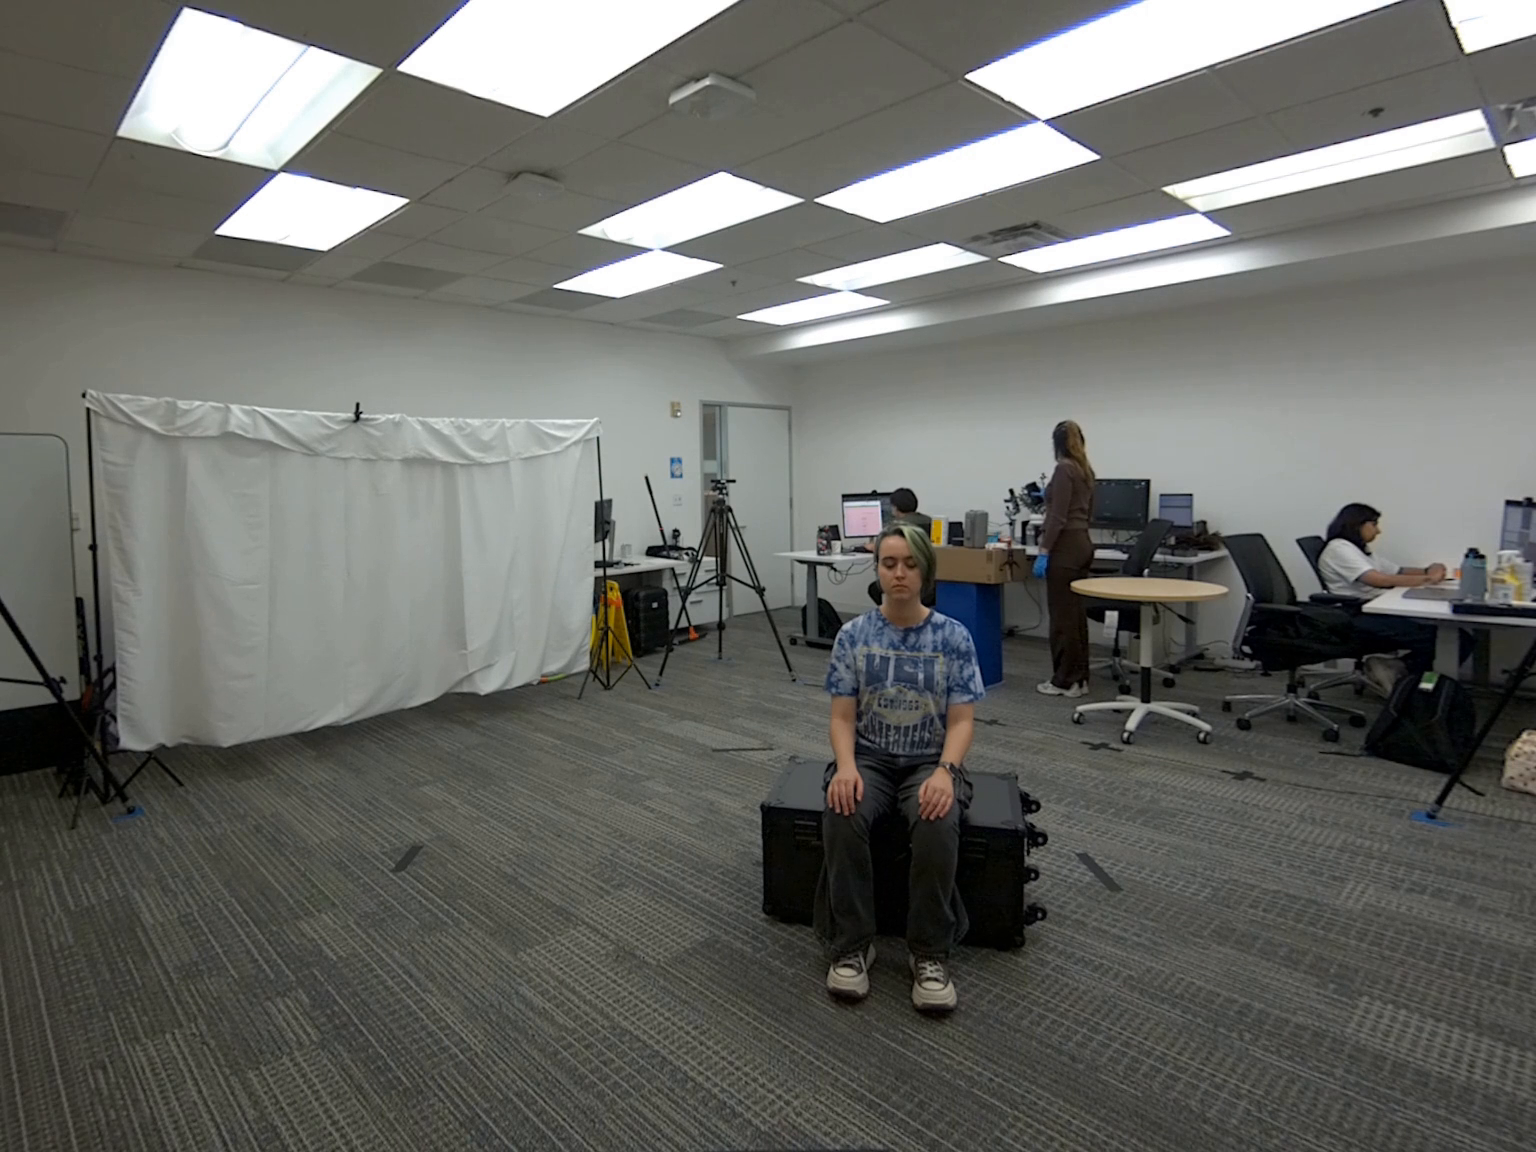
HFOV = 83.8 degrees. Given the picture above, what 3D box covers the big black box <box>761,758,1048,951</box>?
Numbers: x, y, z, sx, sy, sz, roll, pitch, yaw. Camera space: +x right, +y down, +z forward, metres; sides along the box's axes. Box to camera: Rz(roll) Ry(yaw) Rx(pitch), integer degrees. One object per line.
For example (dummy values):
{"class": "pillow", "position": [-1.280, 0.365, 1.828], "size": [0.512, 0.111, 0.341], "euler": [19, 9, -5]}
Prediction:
{"class": "big black box", "position": [0.448, 0.883, 2.801], "size": [0.874, 0.395, 0.516], "euler": [0, 5, 14]}
